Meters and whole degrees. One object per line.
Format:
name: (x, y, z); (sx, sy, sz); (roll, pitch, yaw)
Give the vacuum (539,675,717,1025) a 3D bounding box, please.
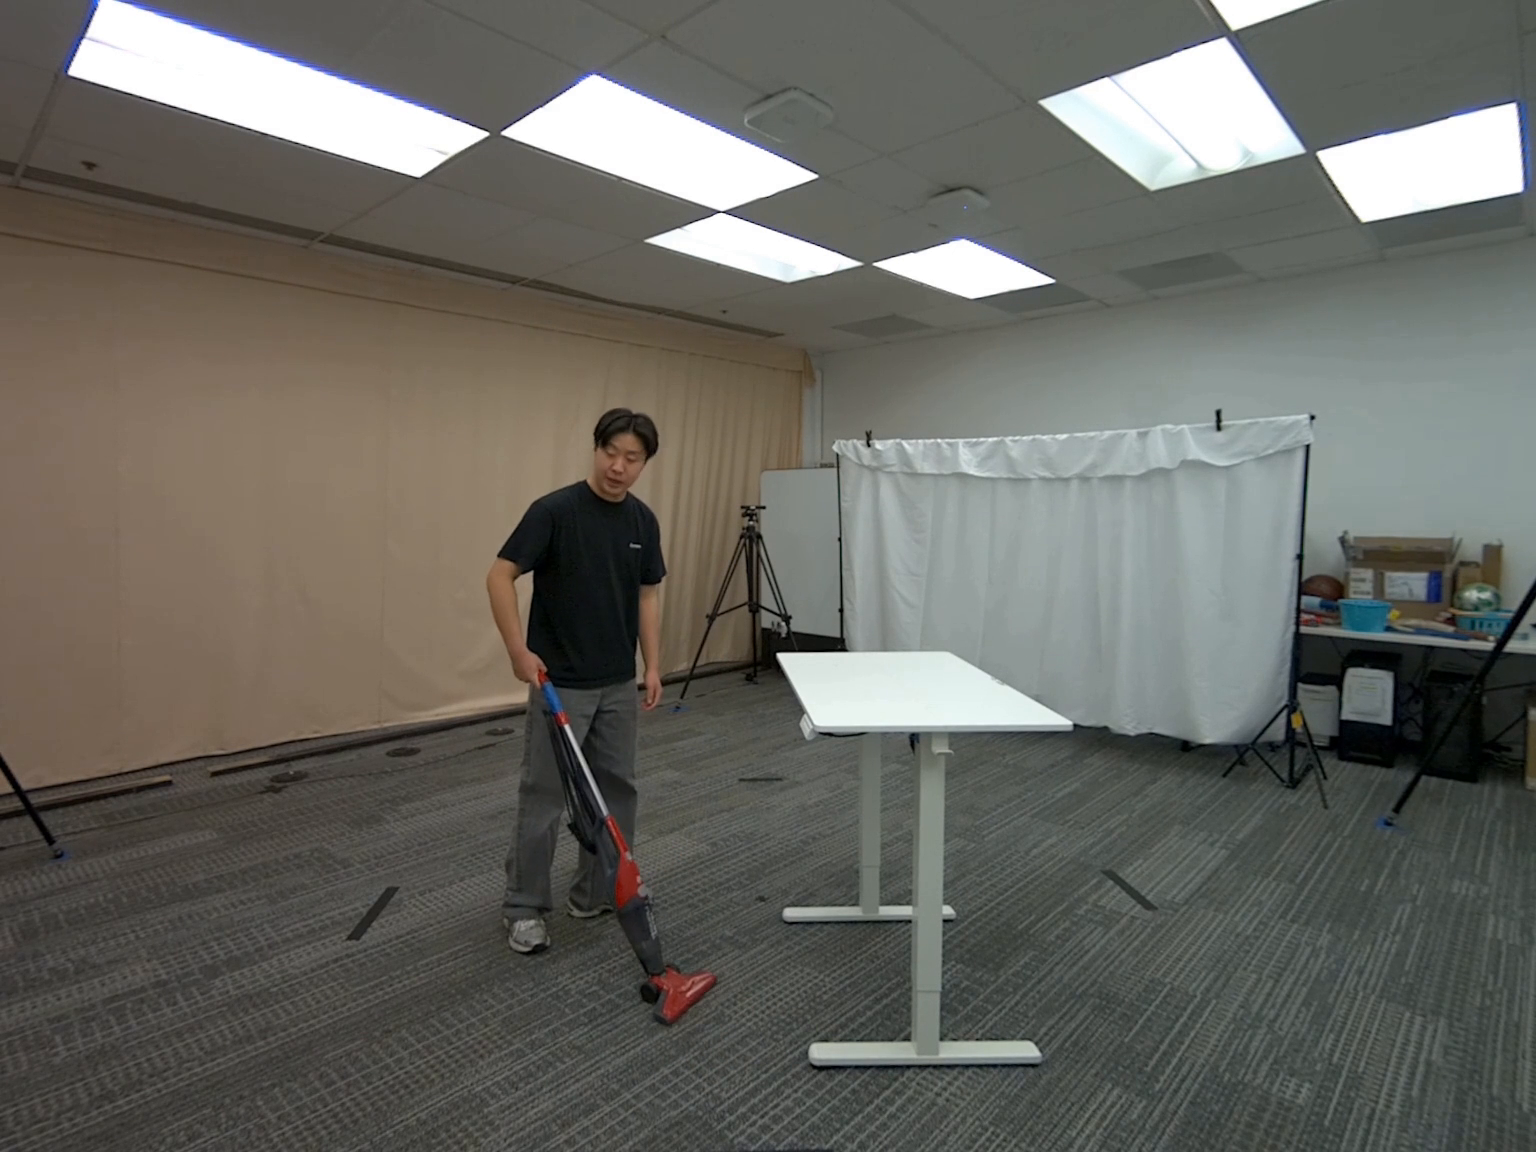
vacuum: (-0.487, 0.744, 2.500); (0.146, 1.064, 0.246); (-35, -14, 25)
